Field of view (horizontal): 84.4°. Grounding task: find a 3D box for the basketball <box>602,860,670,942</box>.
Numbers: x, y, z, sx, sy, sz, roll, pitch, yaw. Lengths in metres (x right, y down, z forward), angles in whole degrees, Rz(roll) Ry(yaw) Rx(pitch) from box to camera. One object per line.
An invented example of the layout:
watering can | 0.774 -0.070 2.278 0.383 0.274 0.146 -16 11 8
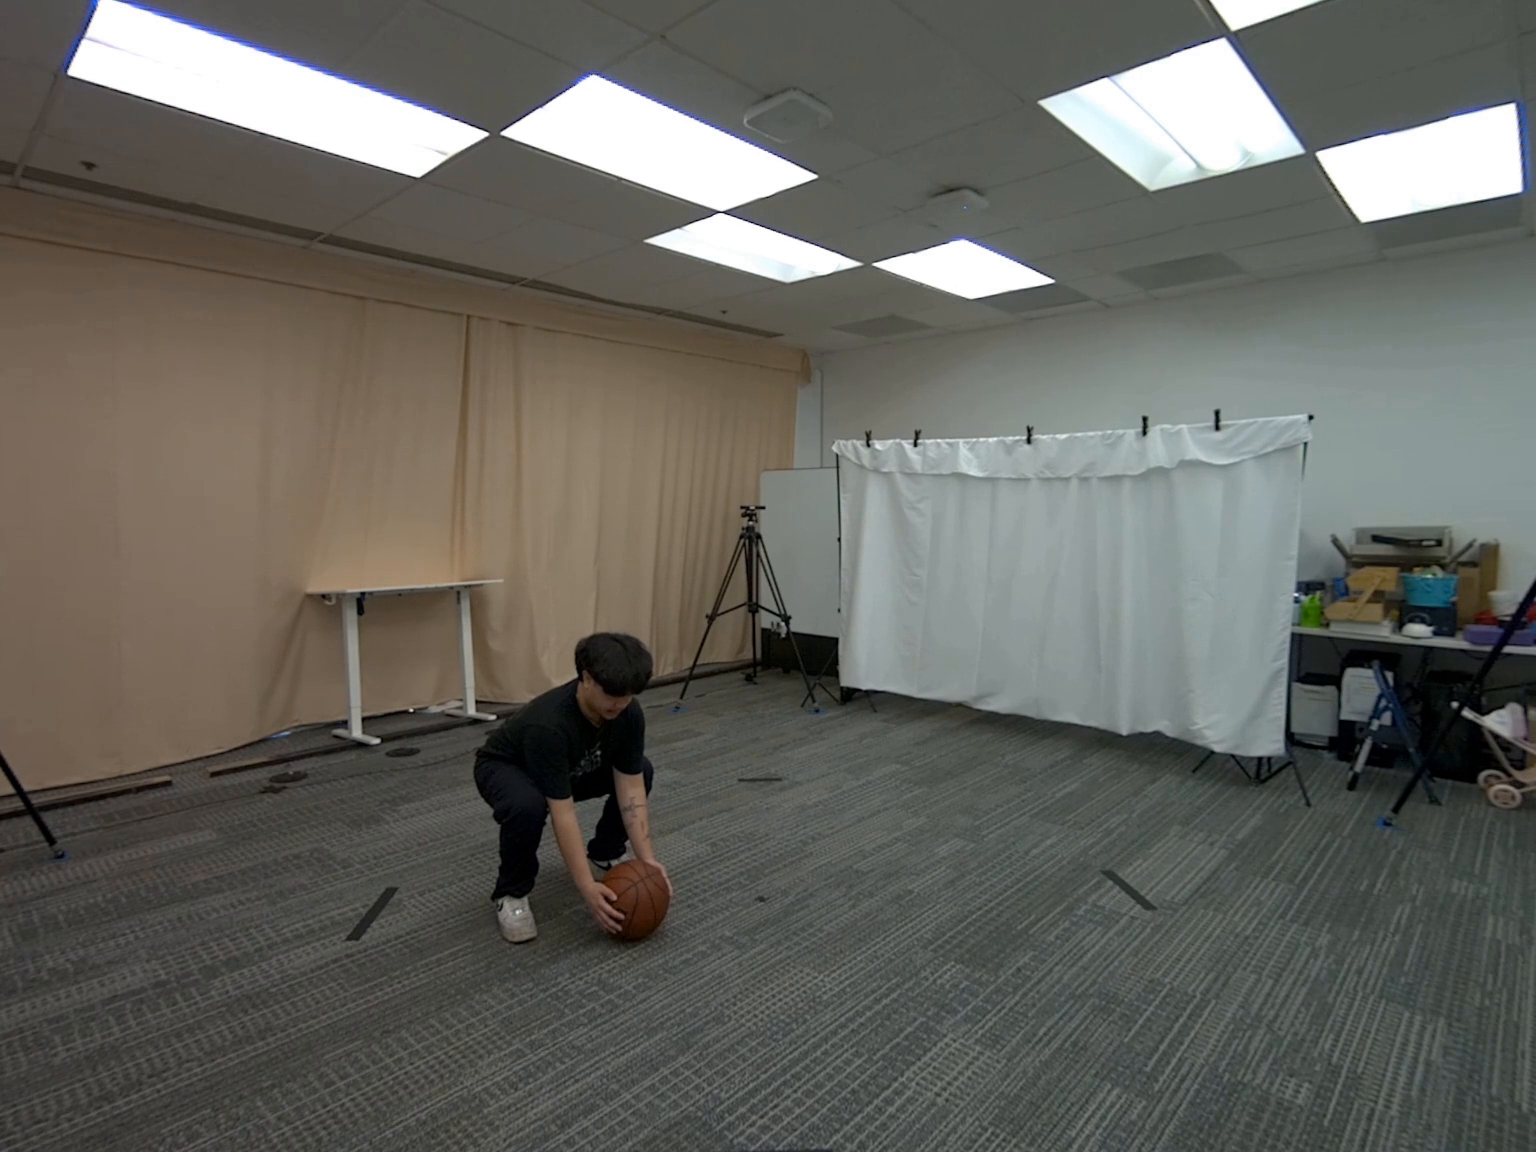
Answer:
basketball | -0.445 1.056 2.716 0.236 0.235 0.237 0 4 -2
